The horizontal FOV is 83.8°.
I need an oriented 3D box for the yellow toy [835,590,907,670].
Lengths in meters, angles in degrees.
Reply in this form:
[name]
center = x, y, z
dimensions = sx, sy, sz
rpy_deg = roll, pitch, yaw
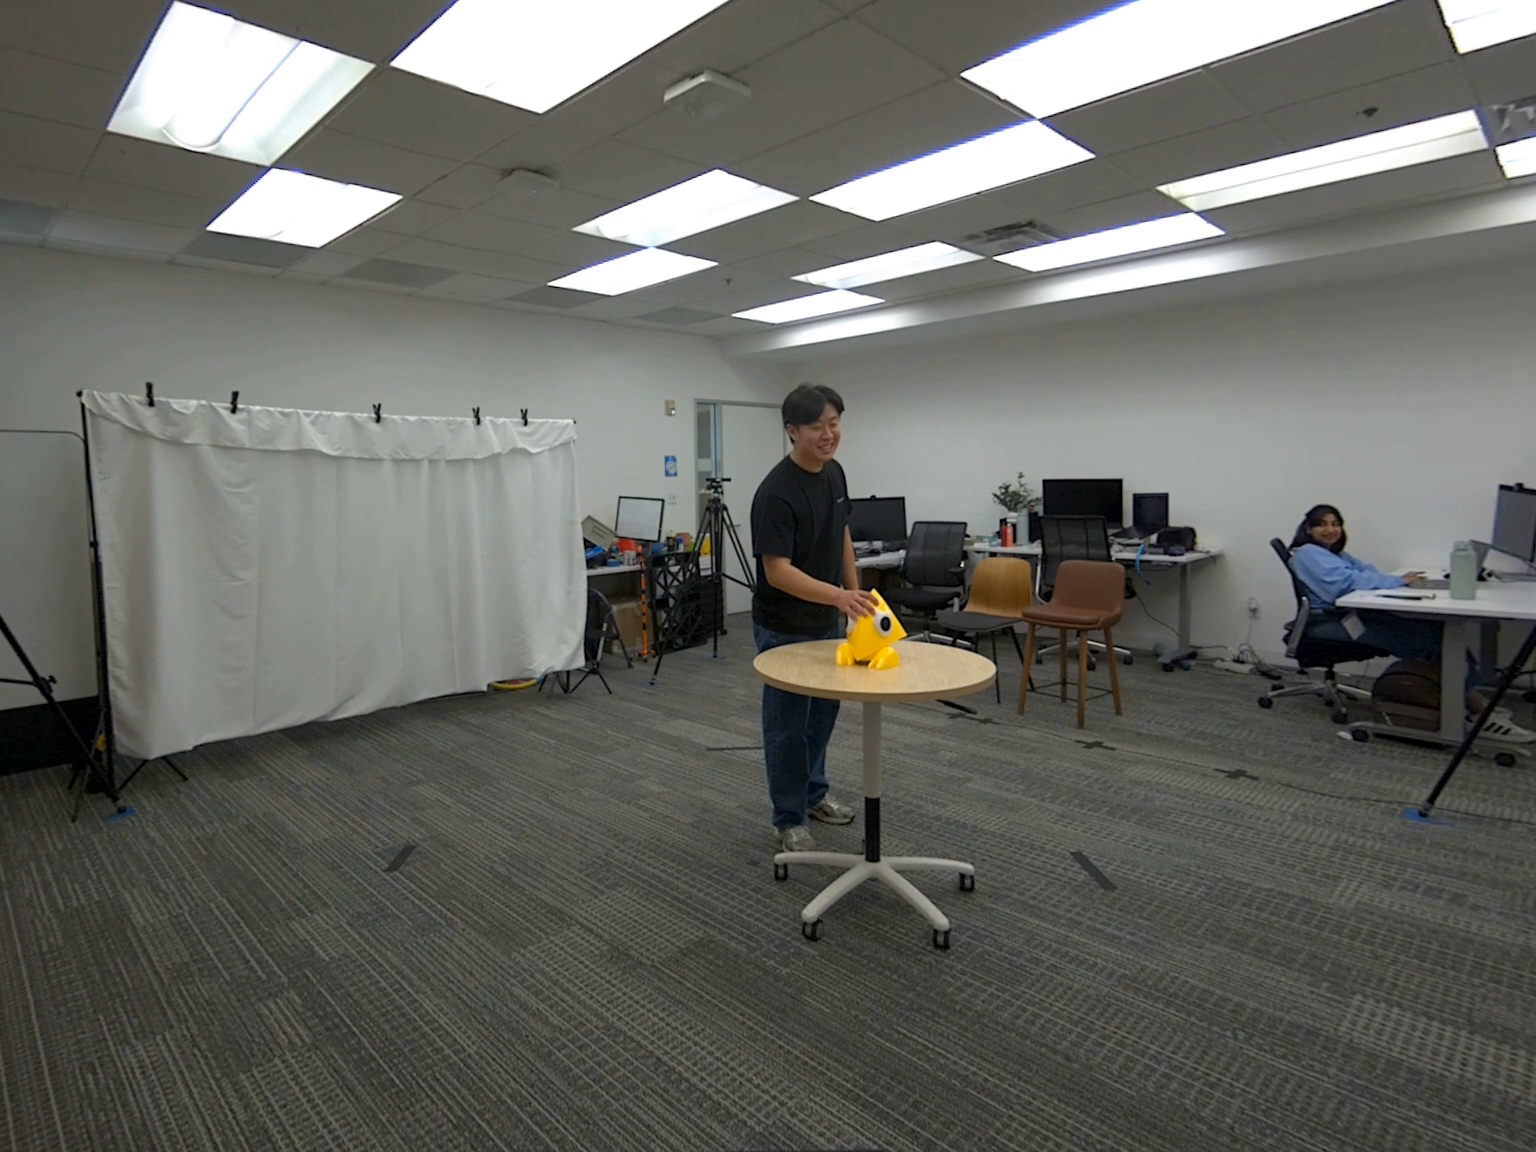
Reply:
[yellow toy]
center = 0.324, 0.169, 2.754
dimensions = 0.210, 0.230, 0.189
rpy_deg = 3, 6, 28
